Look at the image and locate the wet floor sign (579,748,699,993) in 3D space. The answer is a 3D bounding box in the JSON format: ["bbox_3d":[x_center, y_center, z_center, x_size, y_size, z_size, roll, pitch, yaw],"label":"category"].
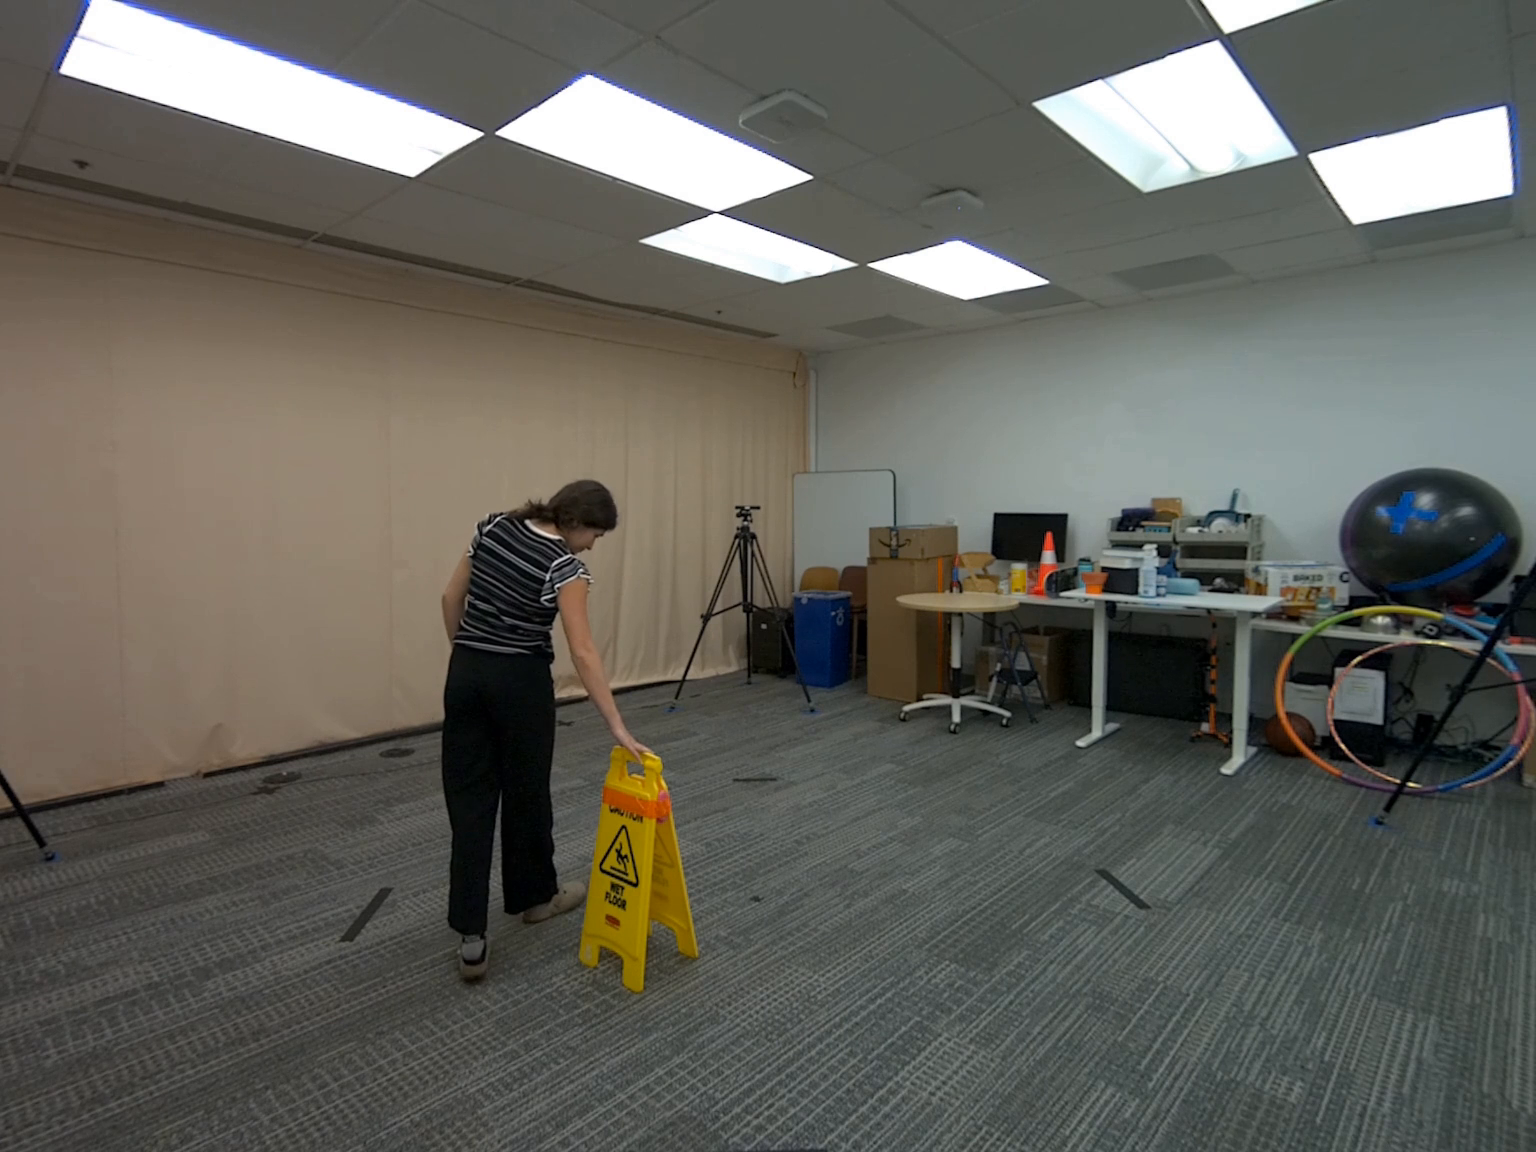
[{"bbox_3d":[-0.399,0.859,2.561,0.291,0.644,0.281,2,5,38],"label":"wet floor sign"}]
